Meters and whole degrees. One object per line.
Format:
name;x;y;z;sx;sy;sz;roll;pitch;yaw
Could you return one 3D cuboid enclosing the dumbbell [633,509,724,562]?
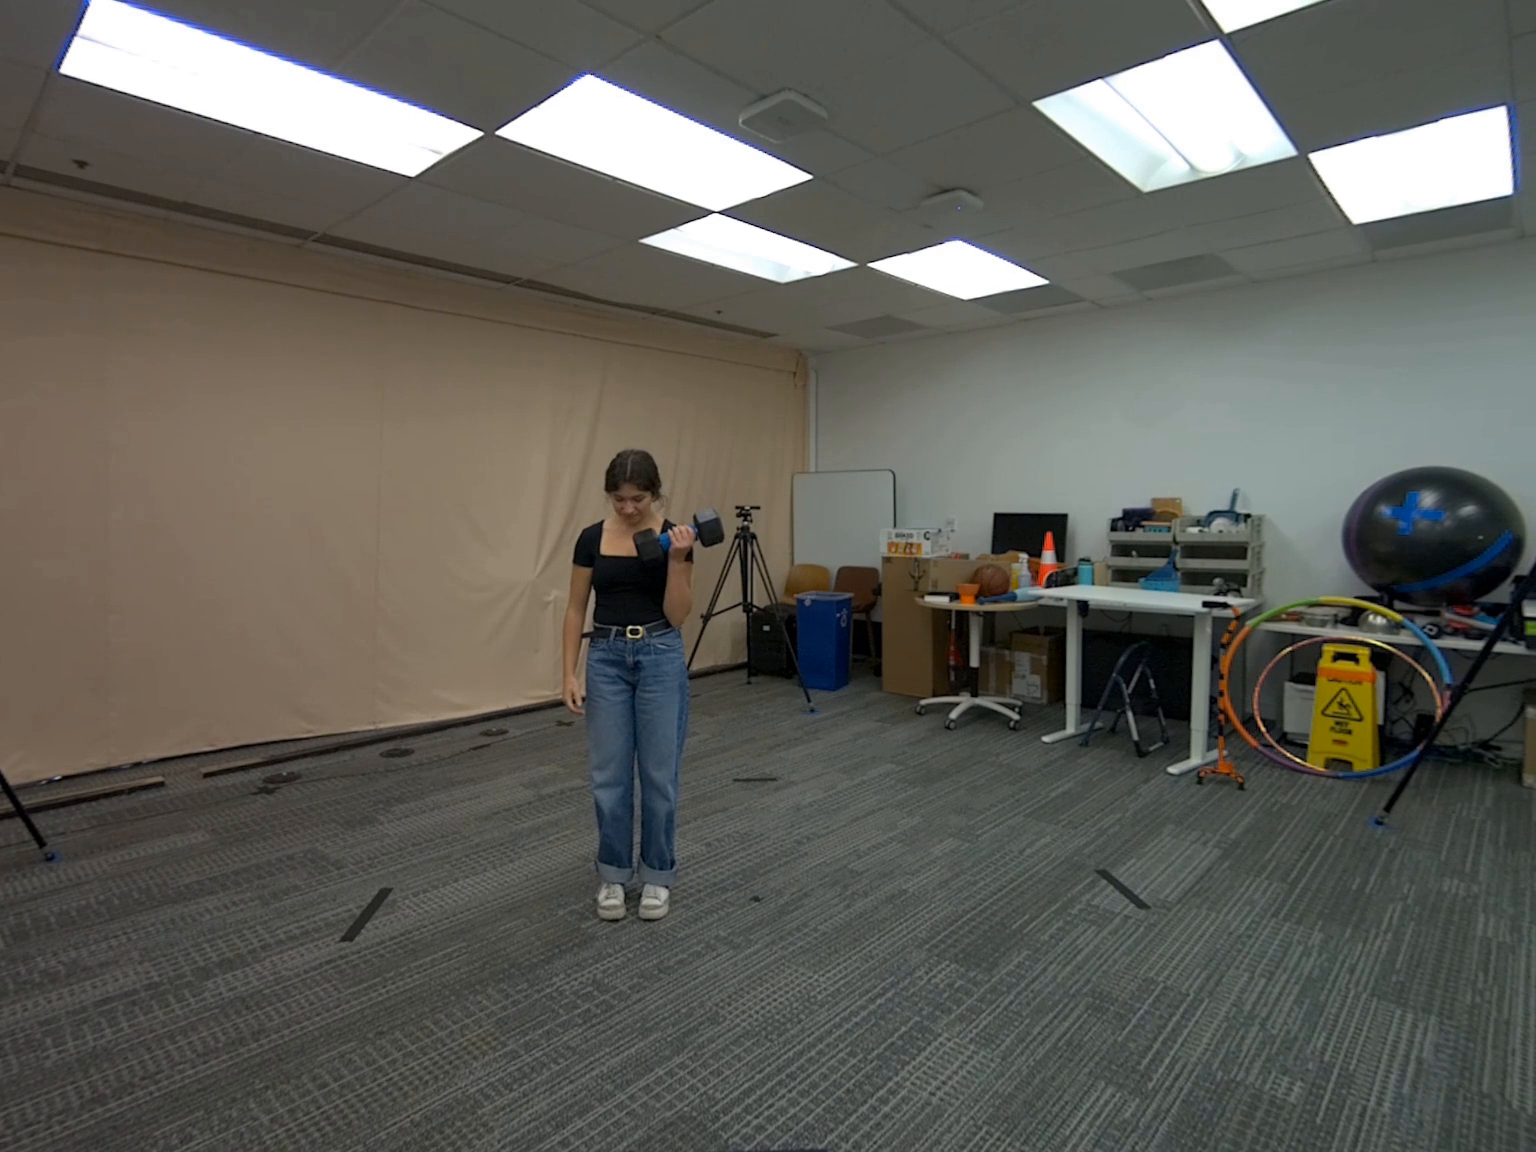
dumbbell;-0.293;-0.120;2.773;0.292;0.122;0.110;-18;8;-4
